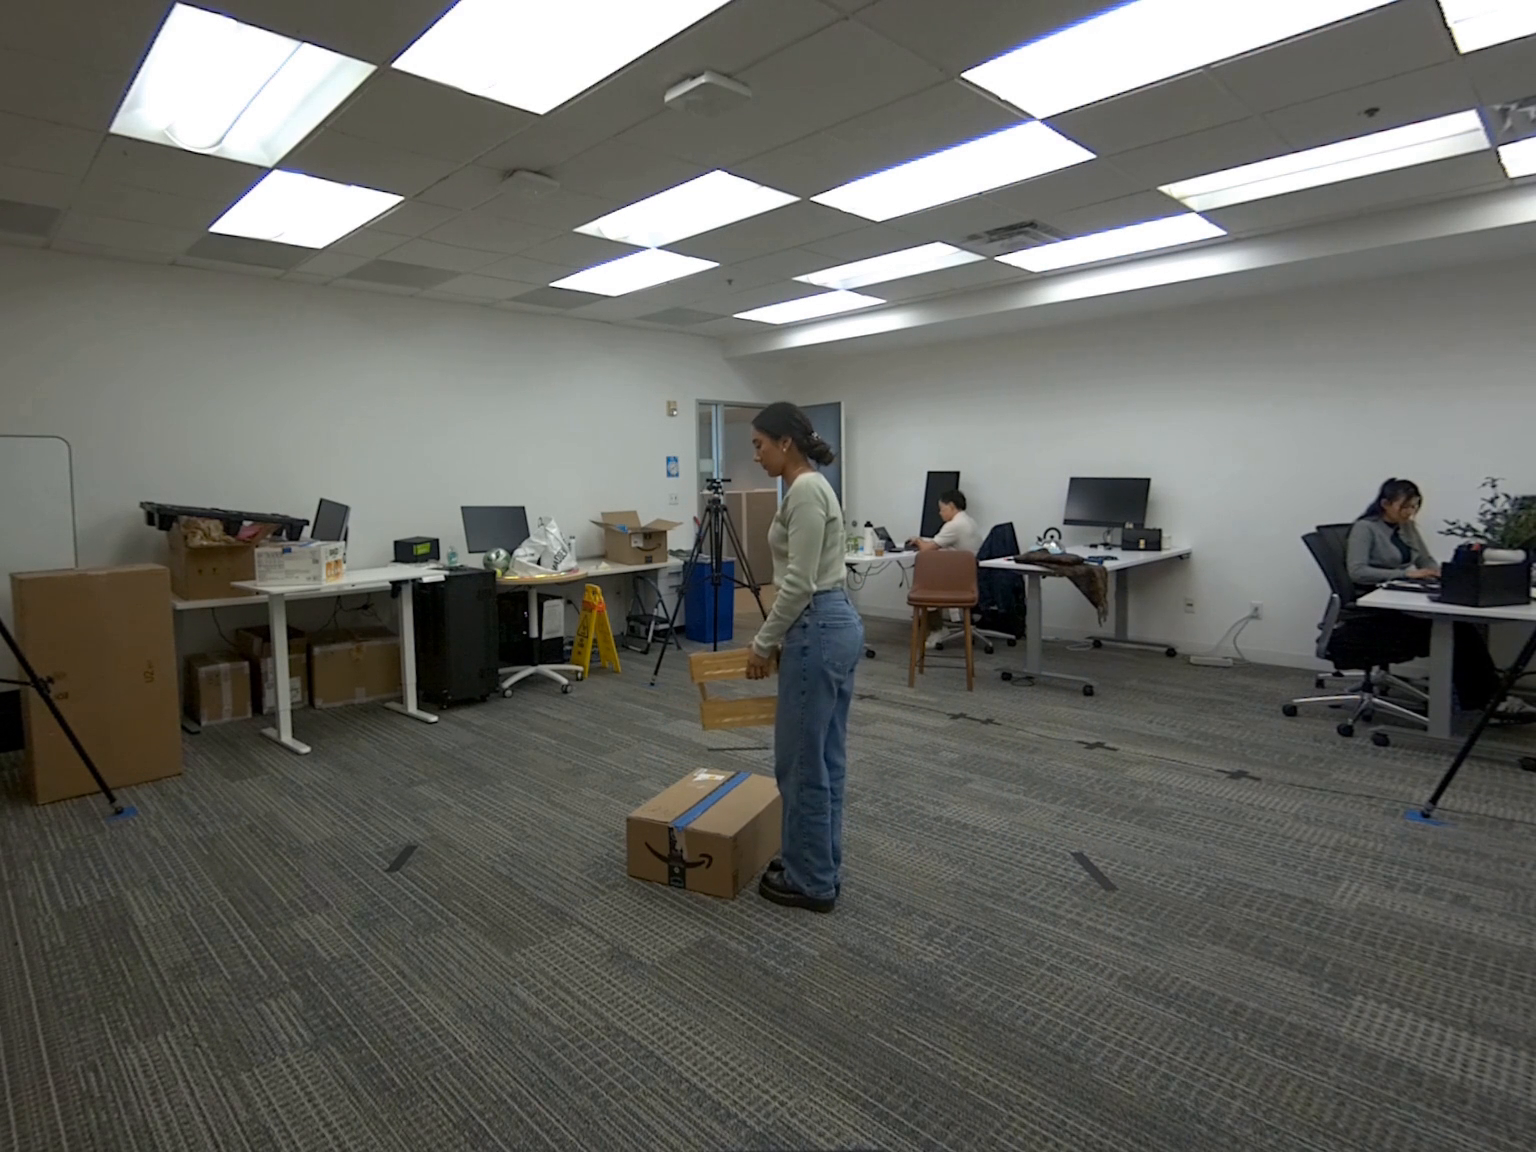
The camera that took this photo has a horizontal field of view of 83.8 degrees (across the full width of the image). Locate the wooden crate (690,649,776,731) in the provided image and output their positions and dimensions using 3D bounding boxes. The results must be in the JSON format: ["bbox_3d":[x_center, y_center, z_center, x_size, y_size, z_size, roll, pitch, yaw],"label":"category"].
[{"bbox_3d":[-0.073,0.366,2.958,0.328,0.274,0.297,-8,-2,15],"label":"wooden crate"}]
